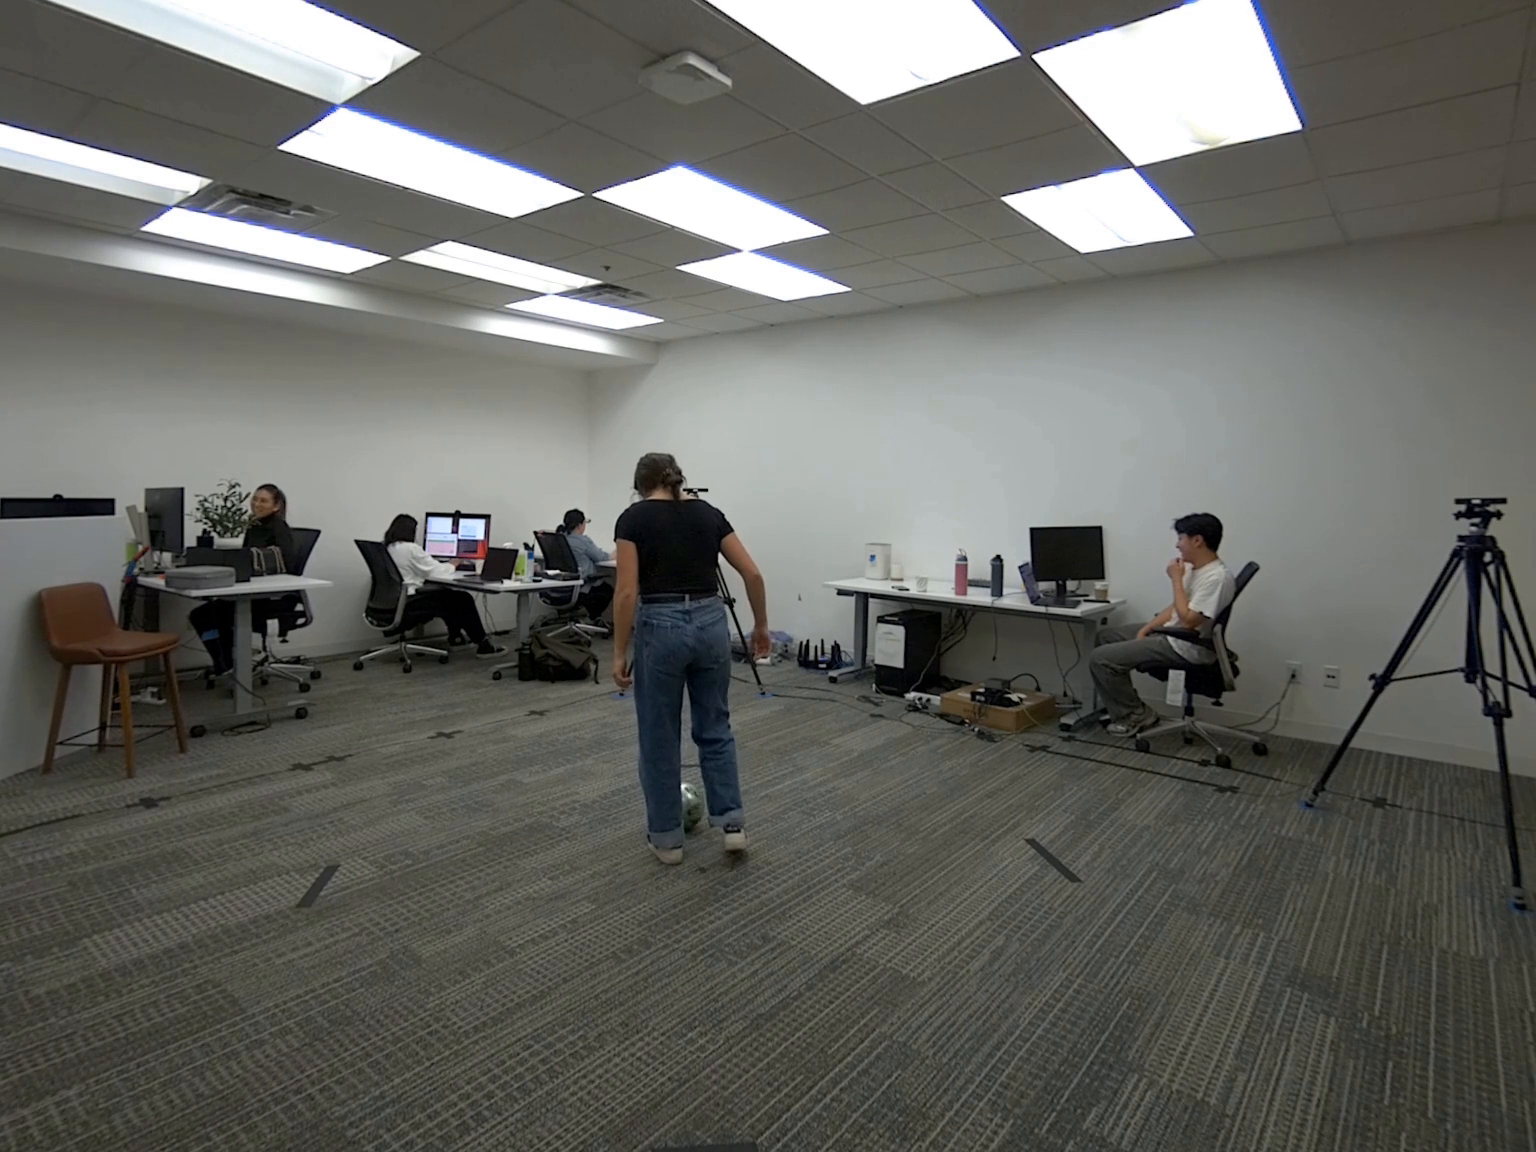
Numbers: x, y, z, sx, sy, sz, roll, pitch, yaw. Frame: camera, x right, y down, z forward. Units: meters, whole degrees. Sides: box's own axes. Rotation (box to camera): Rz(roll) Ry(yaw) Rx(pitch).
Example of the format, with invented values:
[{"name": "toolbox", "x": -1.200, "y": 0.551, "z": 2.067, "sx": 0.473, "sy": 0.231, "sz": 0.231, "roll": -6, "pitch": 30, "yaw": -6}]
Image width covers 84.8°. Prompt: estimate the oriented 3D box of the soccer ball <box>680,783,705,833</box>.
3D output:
[{"name": "soccer ball", "x": -0.343, "y": 0.924, "z": 3.488, "sx": 0.187, "sy": 0.187, "sz": 0.188, "roll": 1, "pitch": 4, "yaw": -2}]
